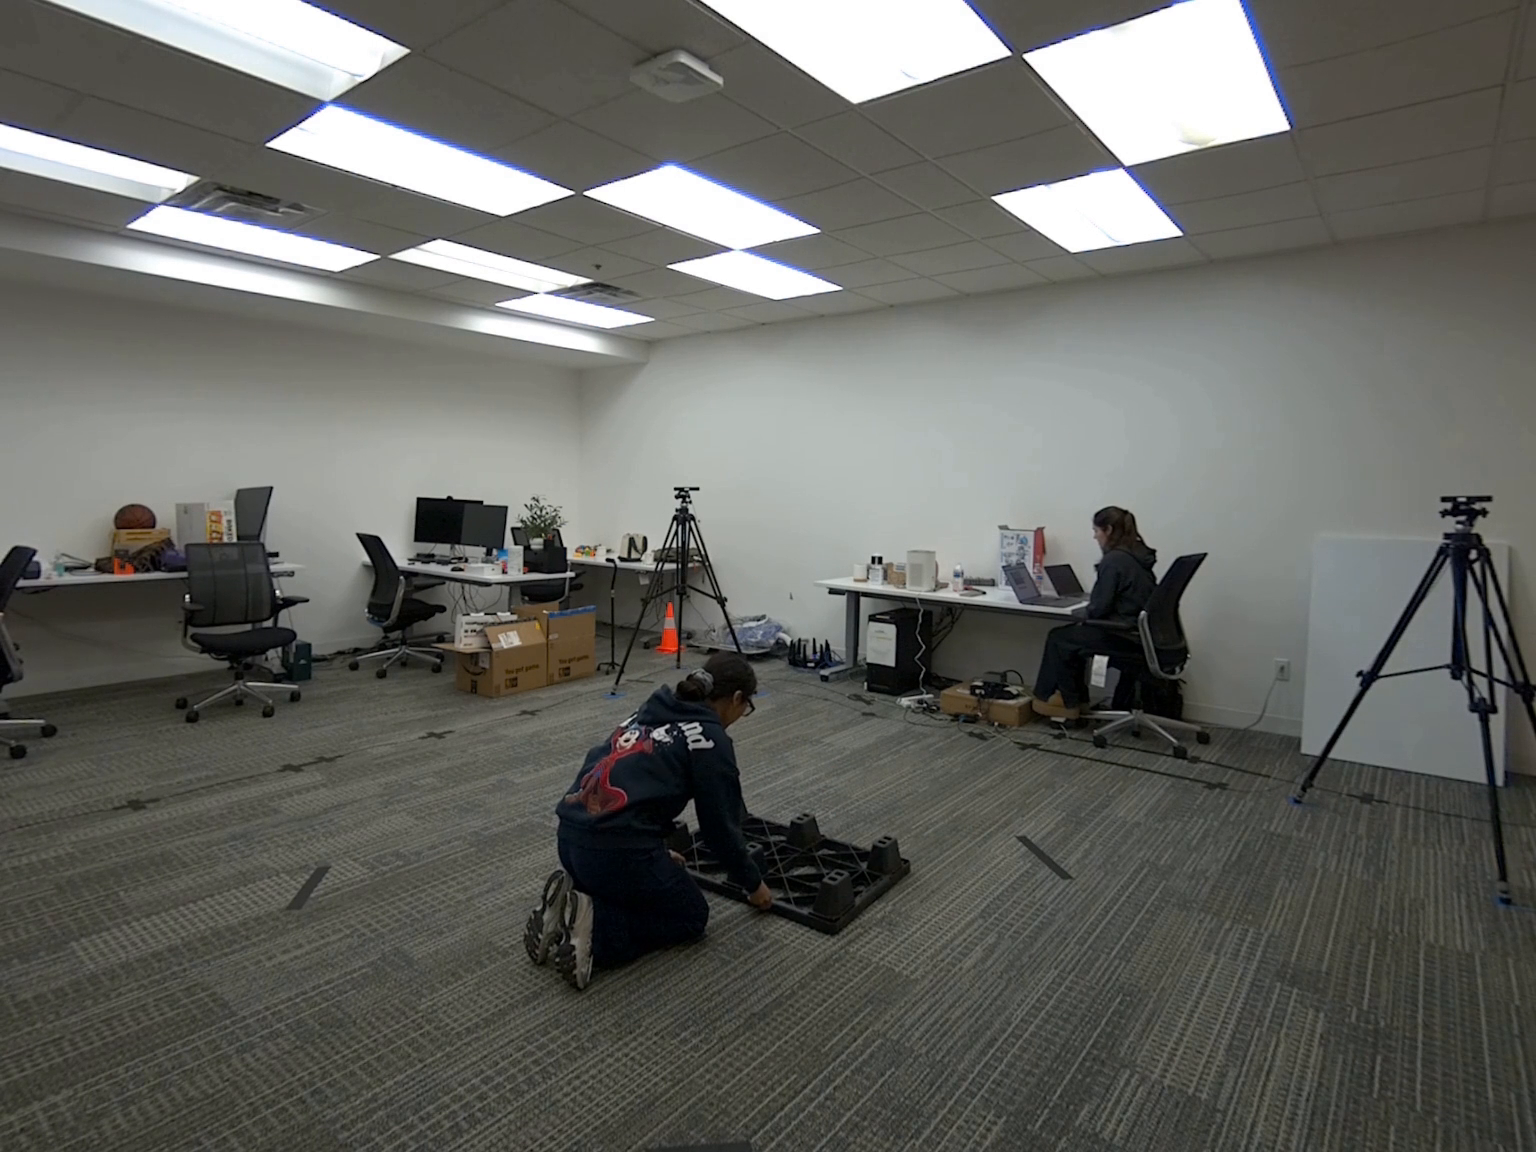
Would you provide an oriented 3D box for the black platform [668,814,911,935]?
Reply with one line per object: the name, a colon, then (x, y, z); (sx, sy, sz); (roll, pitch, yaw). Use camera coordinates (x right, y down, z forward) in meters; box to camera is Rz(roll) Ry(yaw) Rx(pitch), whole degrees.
black platform: (0.021, 1.003, 3.118); (0.831, 0.143, 0.588); (5, 6, 34)
